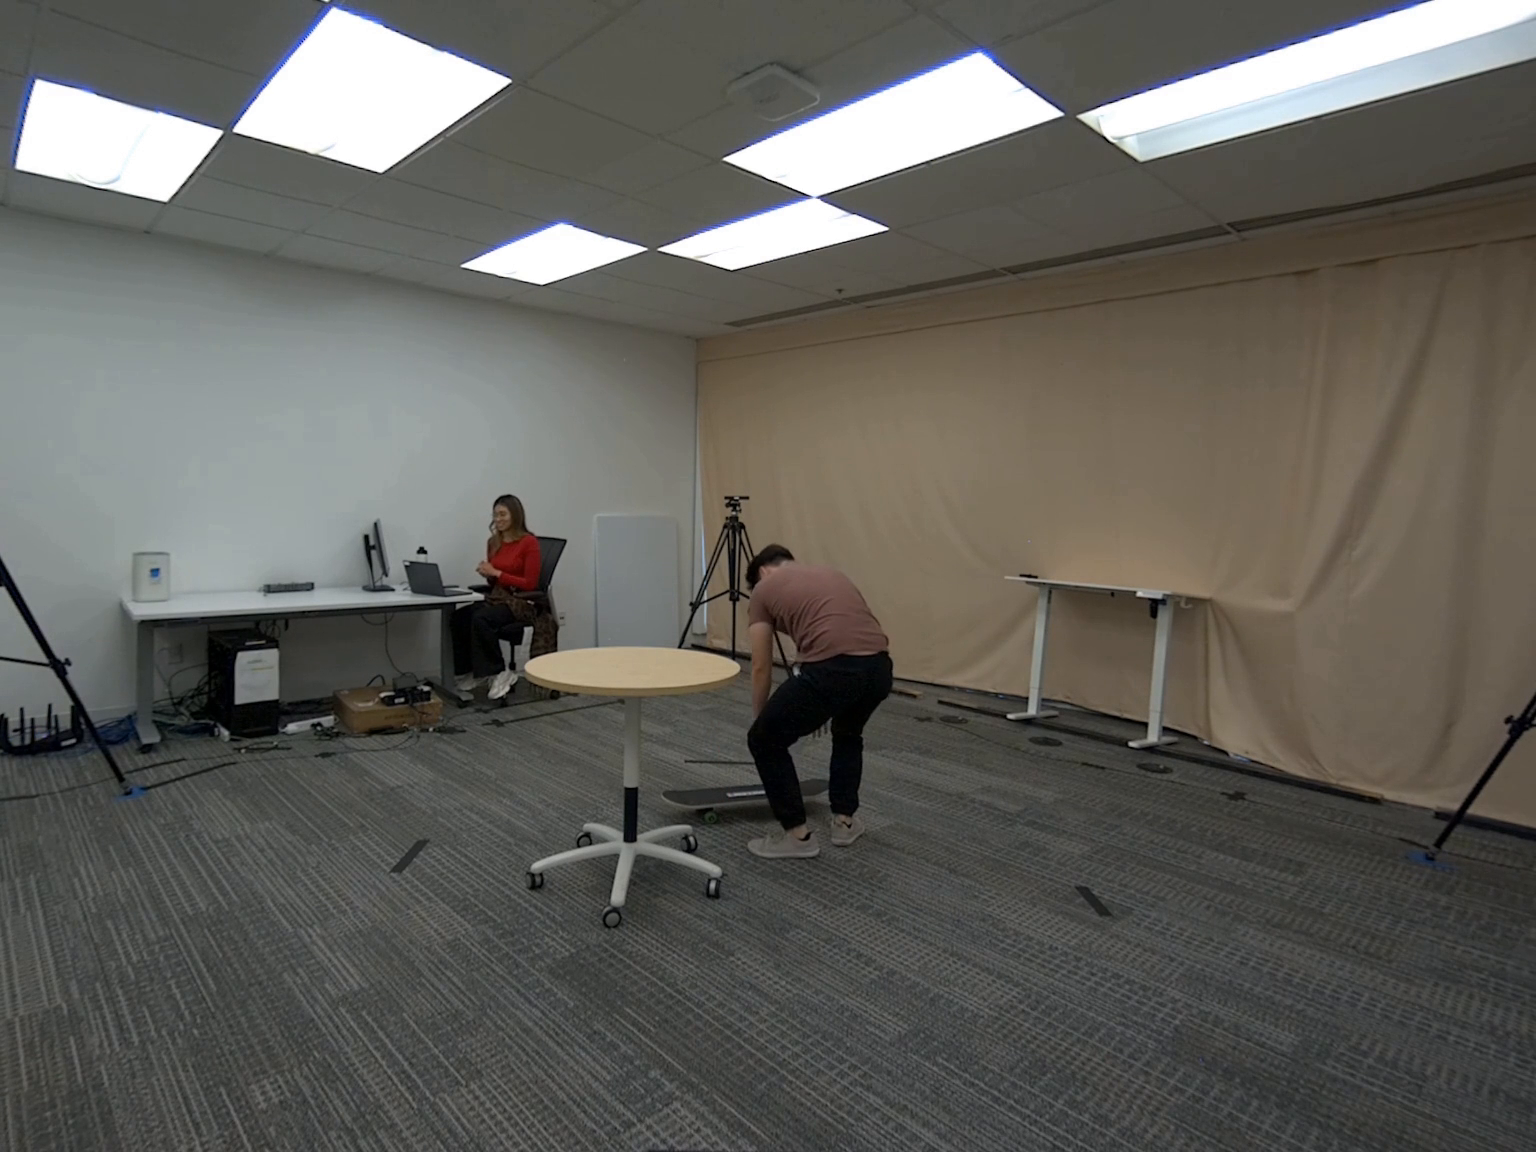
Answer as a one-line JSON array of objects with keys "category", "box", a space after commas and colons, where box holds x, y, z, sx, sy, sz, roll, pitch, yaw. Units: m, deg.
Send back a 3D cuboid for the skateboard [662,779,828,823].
[{"category": "skateboard", "box": [-0.092, 0.989, 3.722, 0.775, 0.110, 0.196, 0, 5, -16]}]
